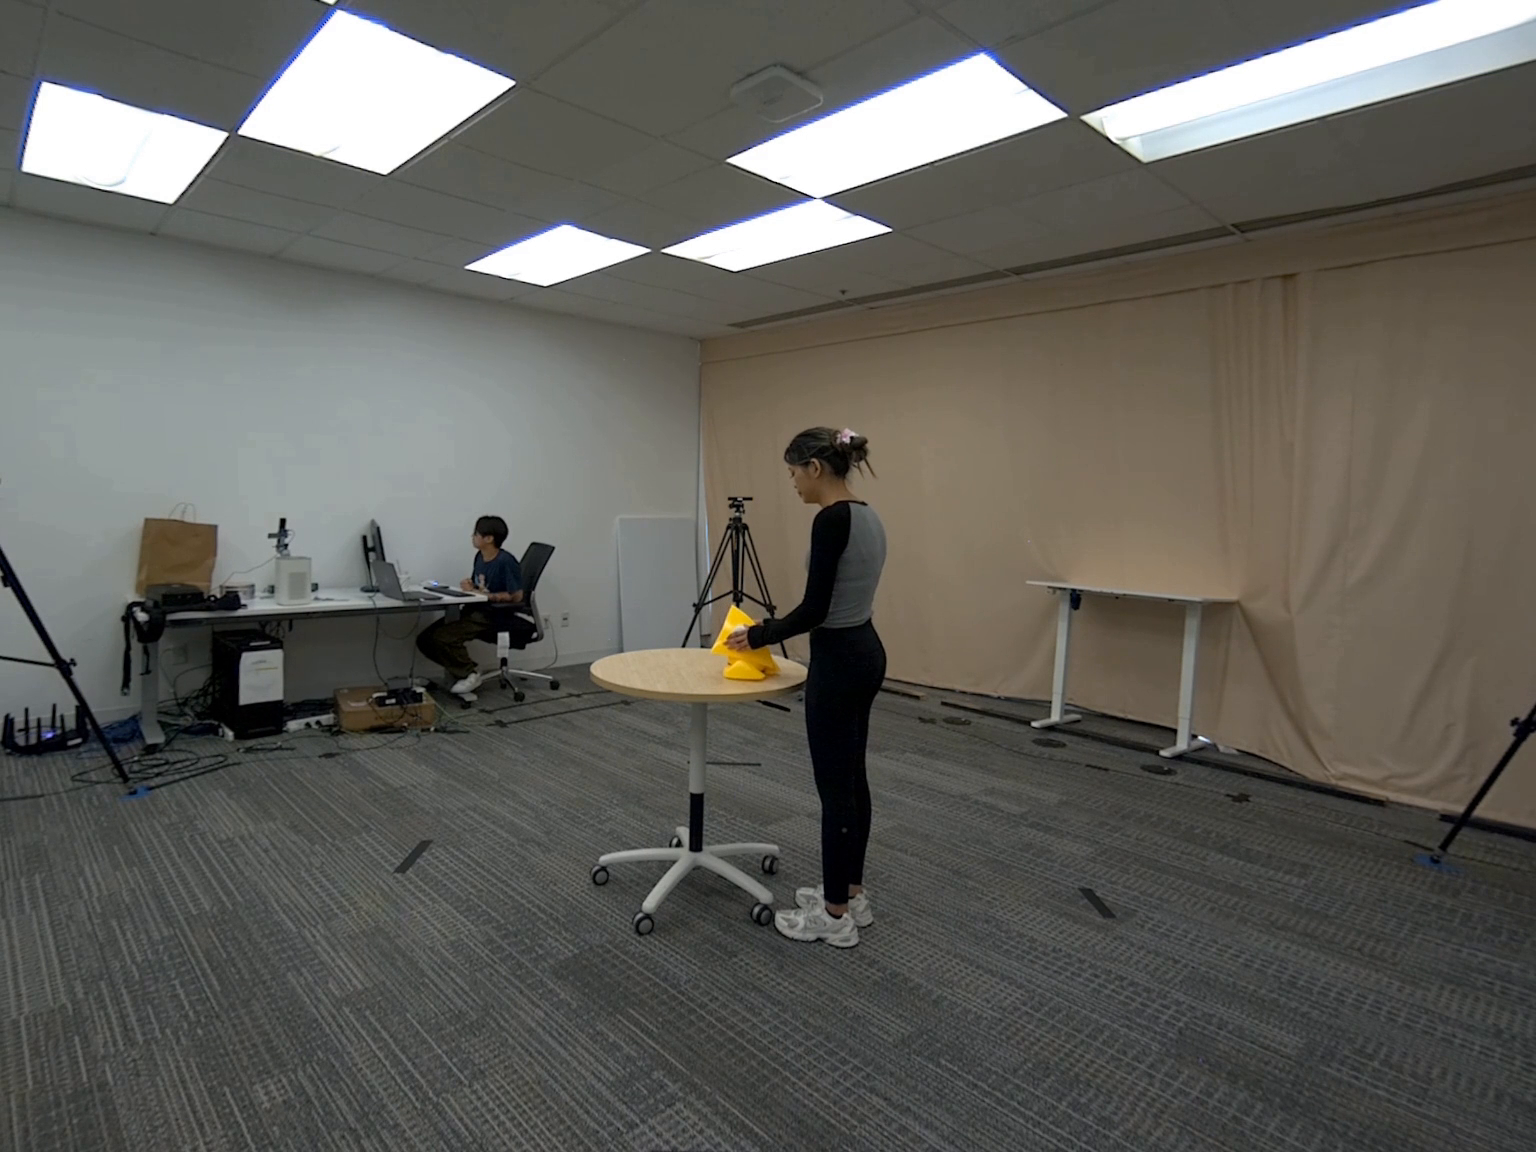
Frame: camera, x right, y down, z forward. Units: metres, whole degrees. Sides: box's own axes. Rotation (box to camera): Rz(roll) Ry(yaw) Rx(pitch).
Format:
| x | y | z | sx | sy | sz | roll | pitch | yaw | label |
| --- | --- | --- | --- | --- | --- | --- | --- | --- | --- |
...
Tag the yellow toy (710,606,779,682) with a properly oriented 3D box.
| x | y | z | sx | sy | sz | roll | pitch | yaw | label |
| --- | --- | --- | --- | --- | --- | --- | --- | --- | --- |
| -0.074 | 0.218 | 2.869 | 0.197 | 0.230 | 0.201 | 2 | 4 | 31 | yellow toy |
